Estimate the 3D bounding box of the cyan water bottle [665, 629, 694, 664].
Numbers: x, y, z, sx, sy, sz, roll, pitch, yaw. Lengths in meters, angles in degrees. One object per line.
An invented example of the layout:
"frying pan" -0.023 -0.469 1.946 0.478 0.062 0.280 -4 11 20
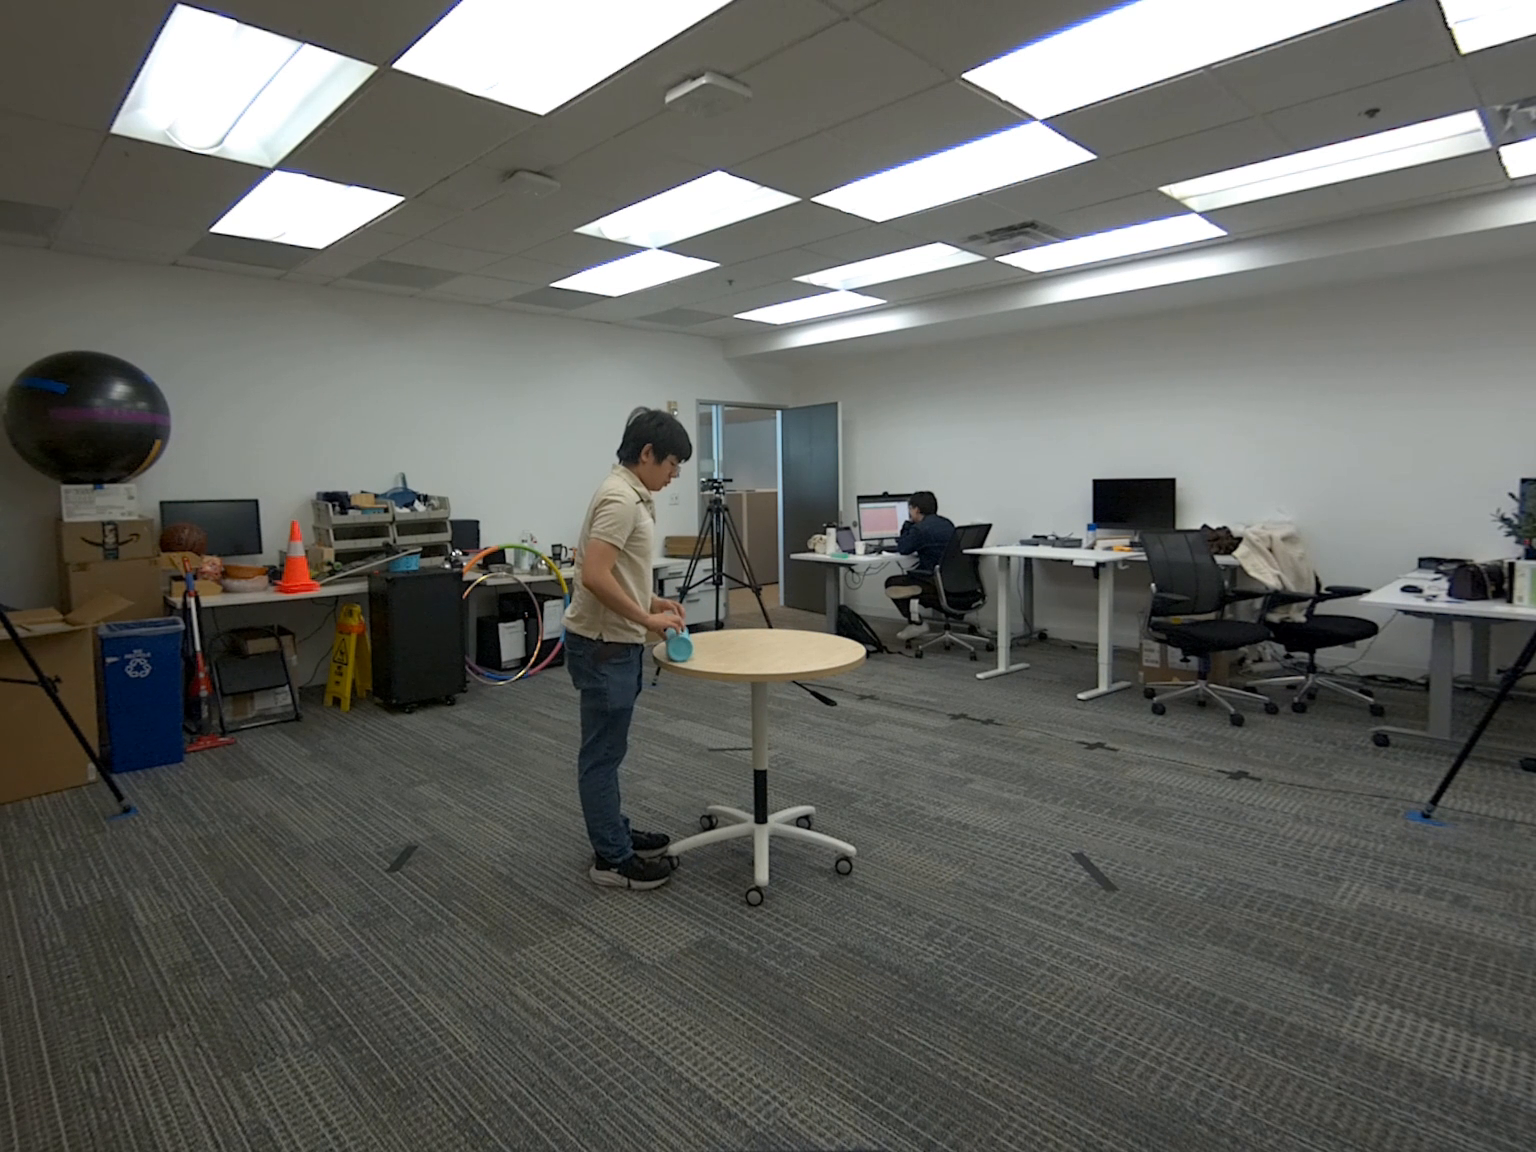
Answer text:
"cyan water bottle" -0.315 0.230 3.023 0.092 0.092 0.285 -1 4 -6
